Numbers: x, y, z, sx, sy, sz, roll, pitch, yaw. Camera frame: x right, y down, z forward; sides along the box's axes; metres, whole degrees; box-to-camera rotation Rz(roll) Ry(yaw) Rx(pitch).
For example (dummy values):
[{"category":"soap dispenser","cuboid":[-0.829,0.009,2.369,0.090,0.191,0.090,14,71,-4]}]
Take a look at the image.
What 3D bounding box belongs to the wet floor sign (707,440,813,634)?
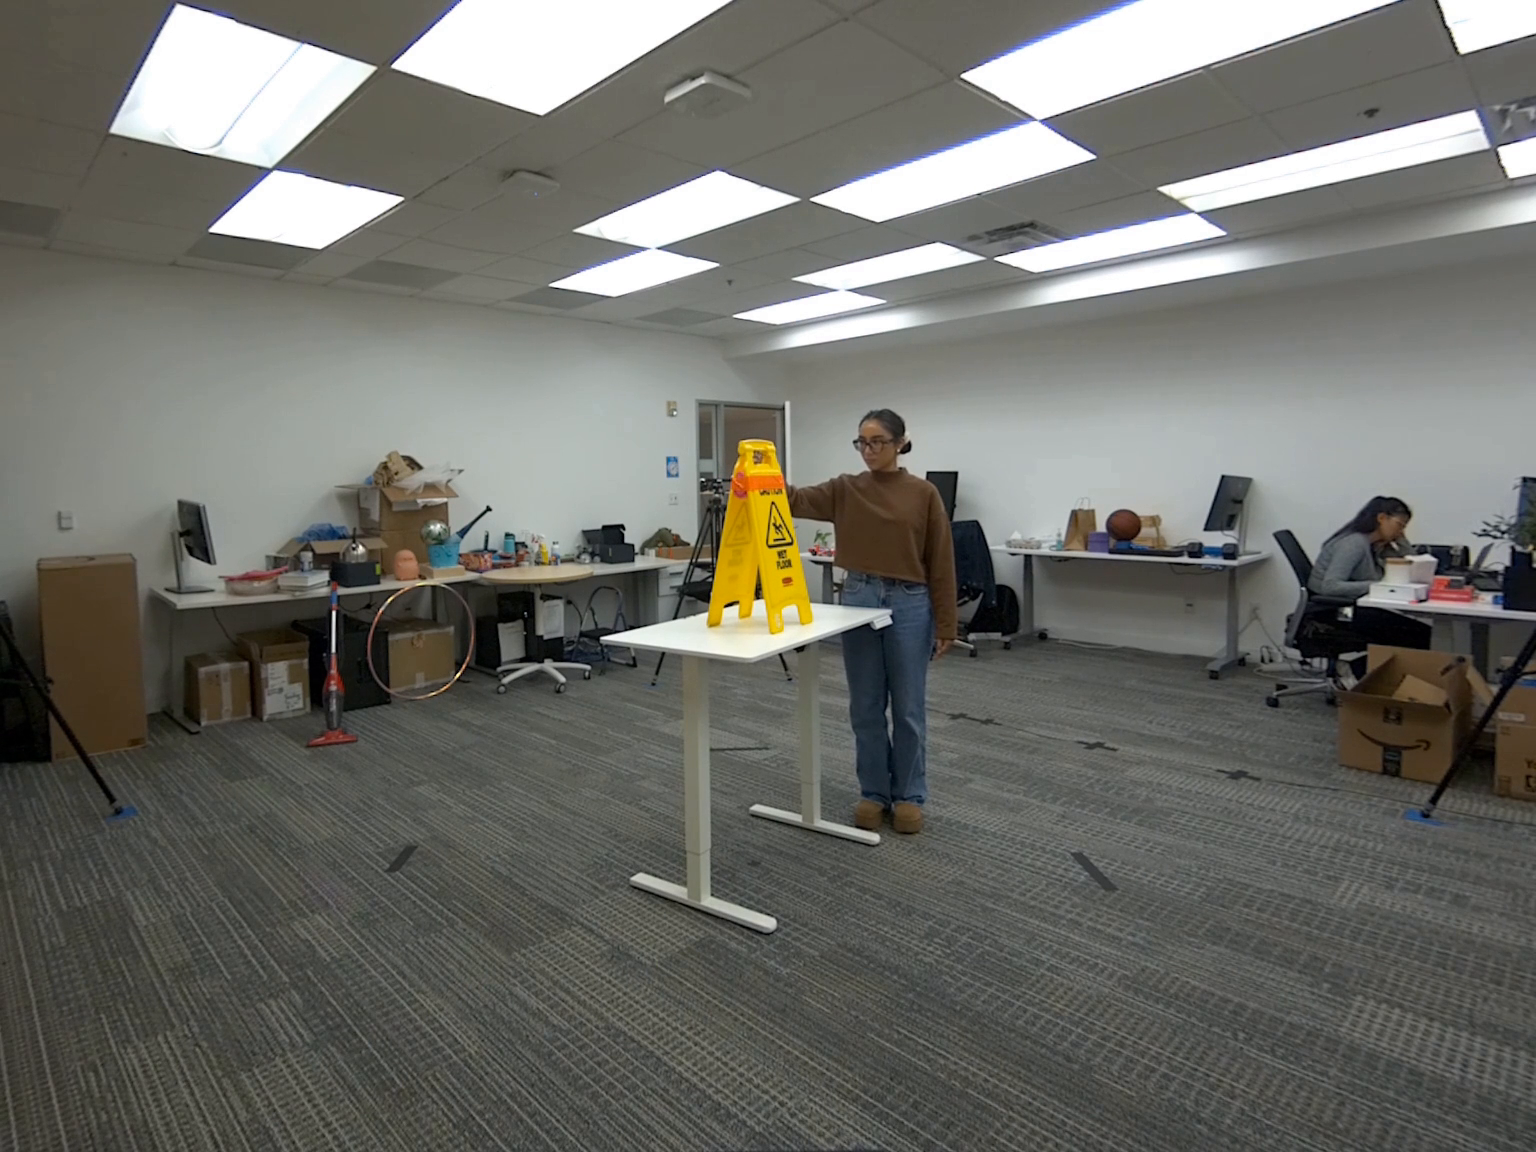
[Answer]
[{"category":"wet floor sign","cuboid":[-0.033,-0.148,3.002,0.297,0.644,0.275,1,4,32]}]
